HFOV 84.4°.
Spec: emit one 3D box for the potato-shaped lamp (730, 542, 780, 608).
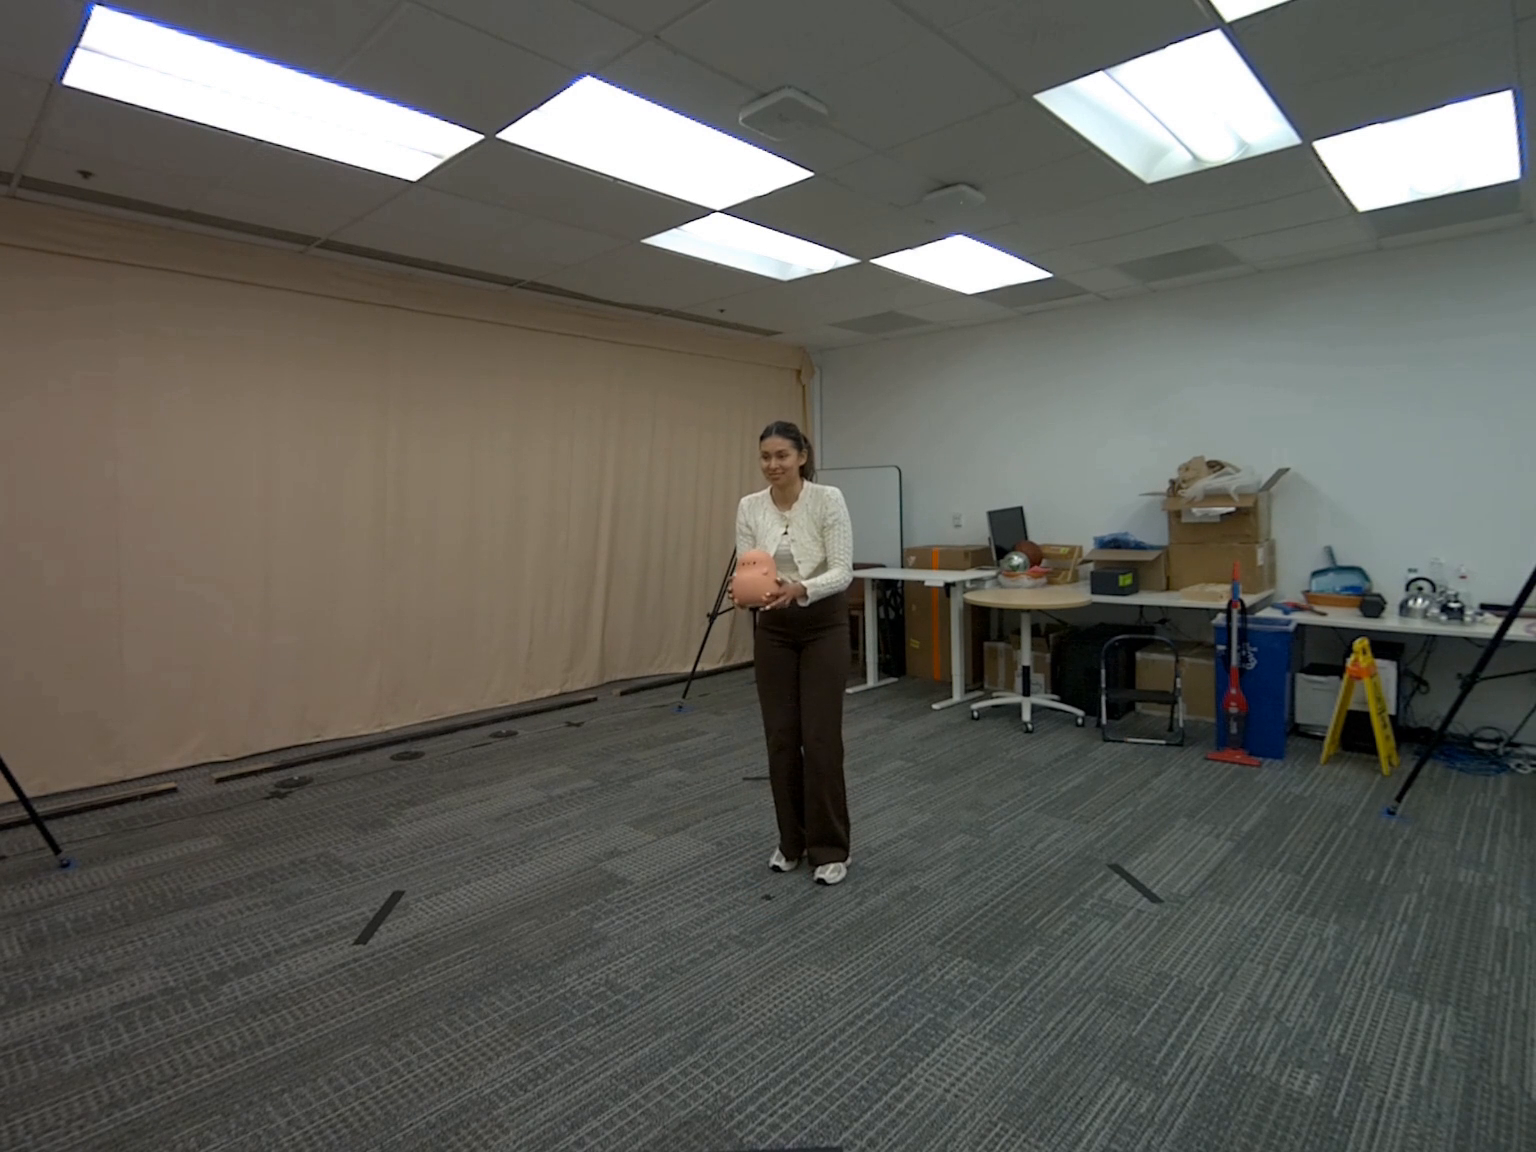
[{"bbox_3d":[-0.042,0.011,2.896,0.168,0.199,0.166,-9,-8,25],"label":"potato-shaped lamp"}]
